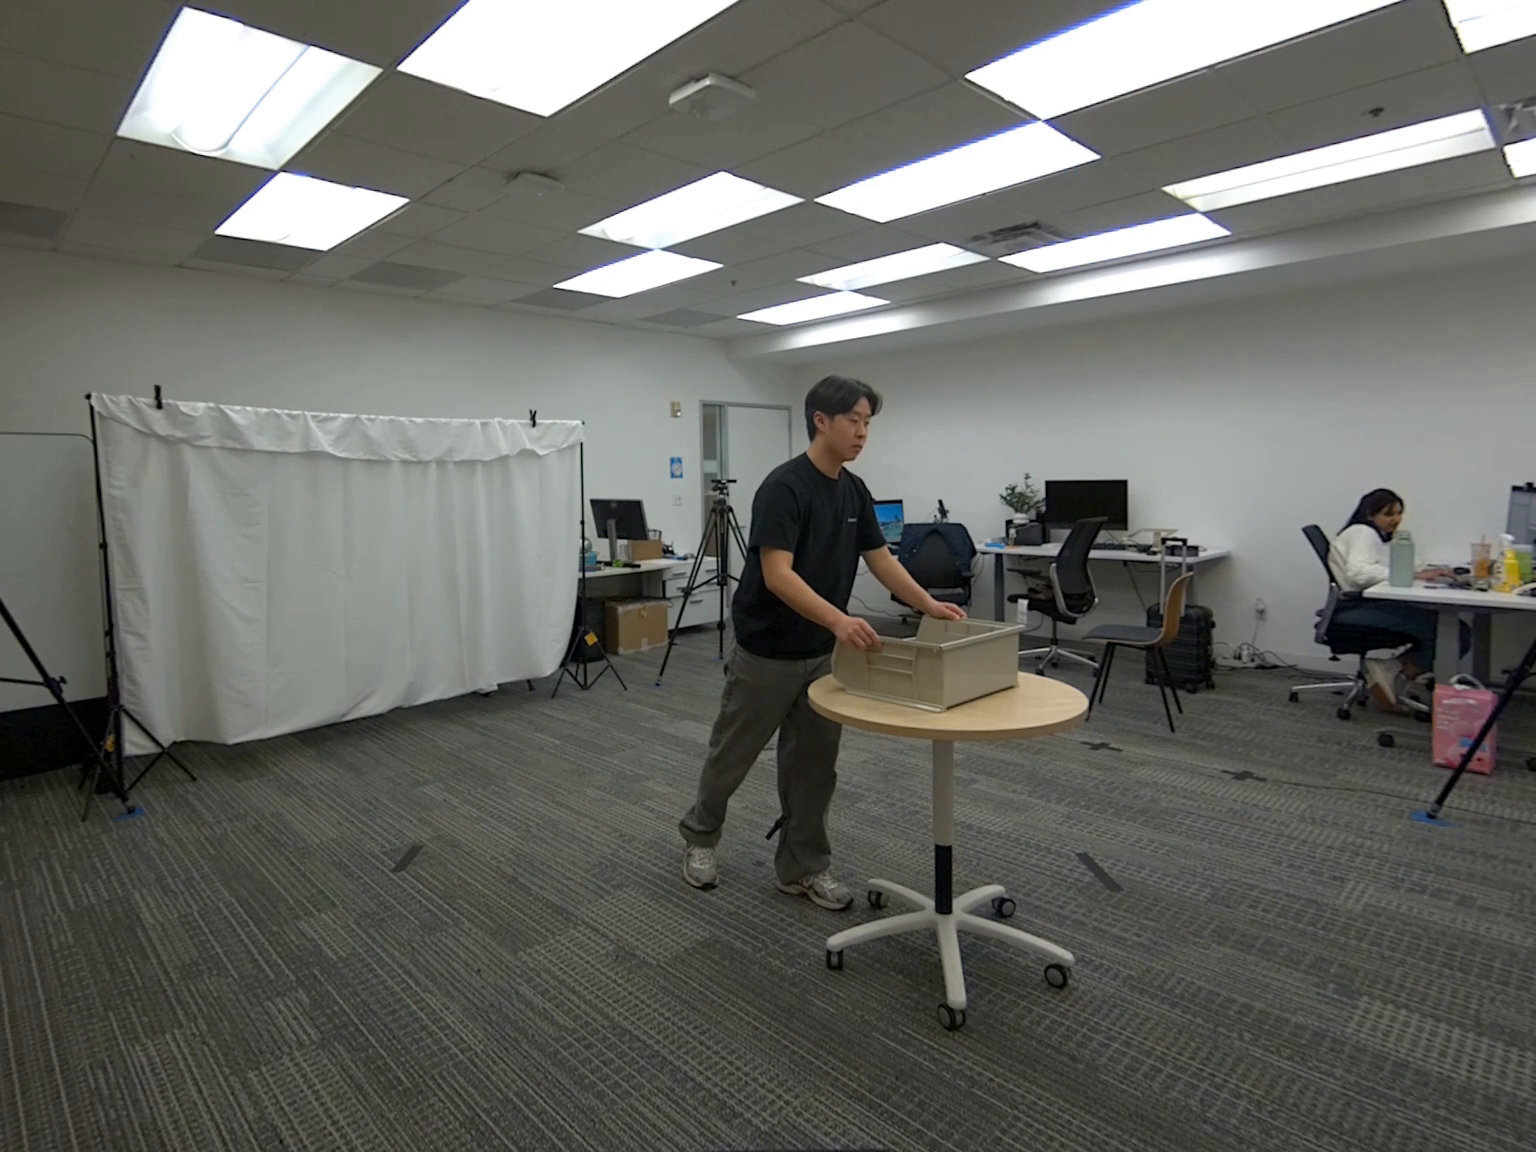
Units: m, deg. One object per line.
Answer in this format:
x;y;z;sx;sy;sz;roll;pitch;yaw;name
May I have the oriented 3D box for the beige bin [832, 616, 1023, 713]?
0.461;0.239;2.463;0.411;0.188;0.389;-6;8;-44;beige bin
